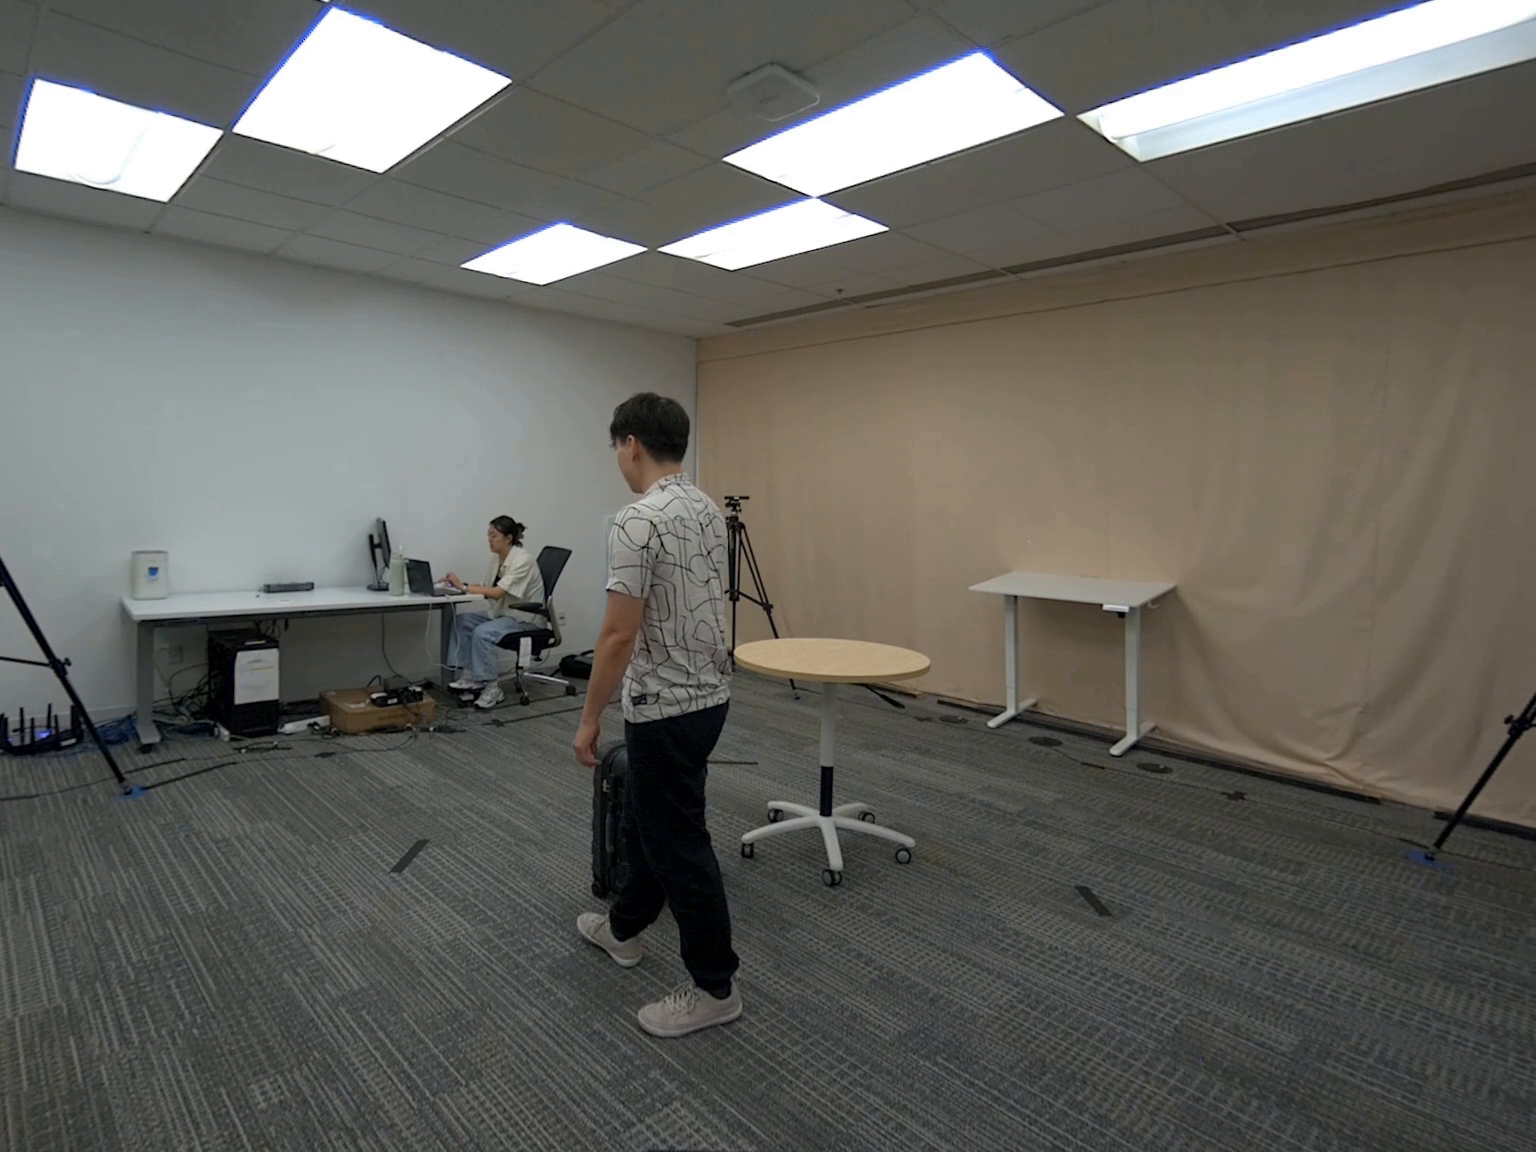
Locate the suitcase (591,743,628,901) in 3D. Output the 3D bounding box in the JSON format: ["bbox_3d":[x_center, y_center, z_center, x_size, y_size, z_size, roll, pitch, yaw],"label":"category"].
[{"bbox_3d":[-0.420,0.838,2.926,0.367,0.548,0.254,-2,3,-39],"label":"suitcase"}]
